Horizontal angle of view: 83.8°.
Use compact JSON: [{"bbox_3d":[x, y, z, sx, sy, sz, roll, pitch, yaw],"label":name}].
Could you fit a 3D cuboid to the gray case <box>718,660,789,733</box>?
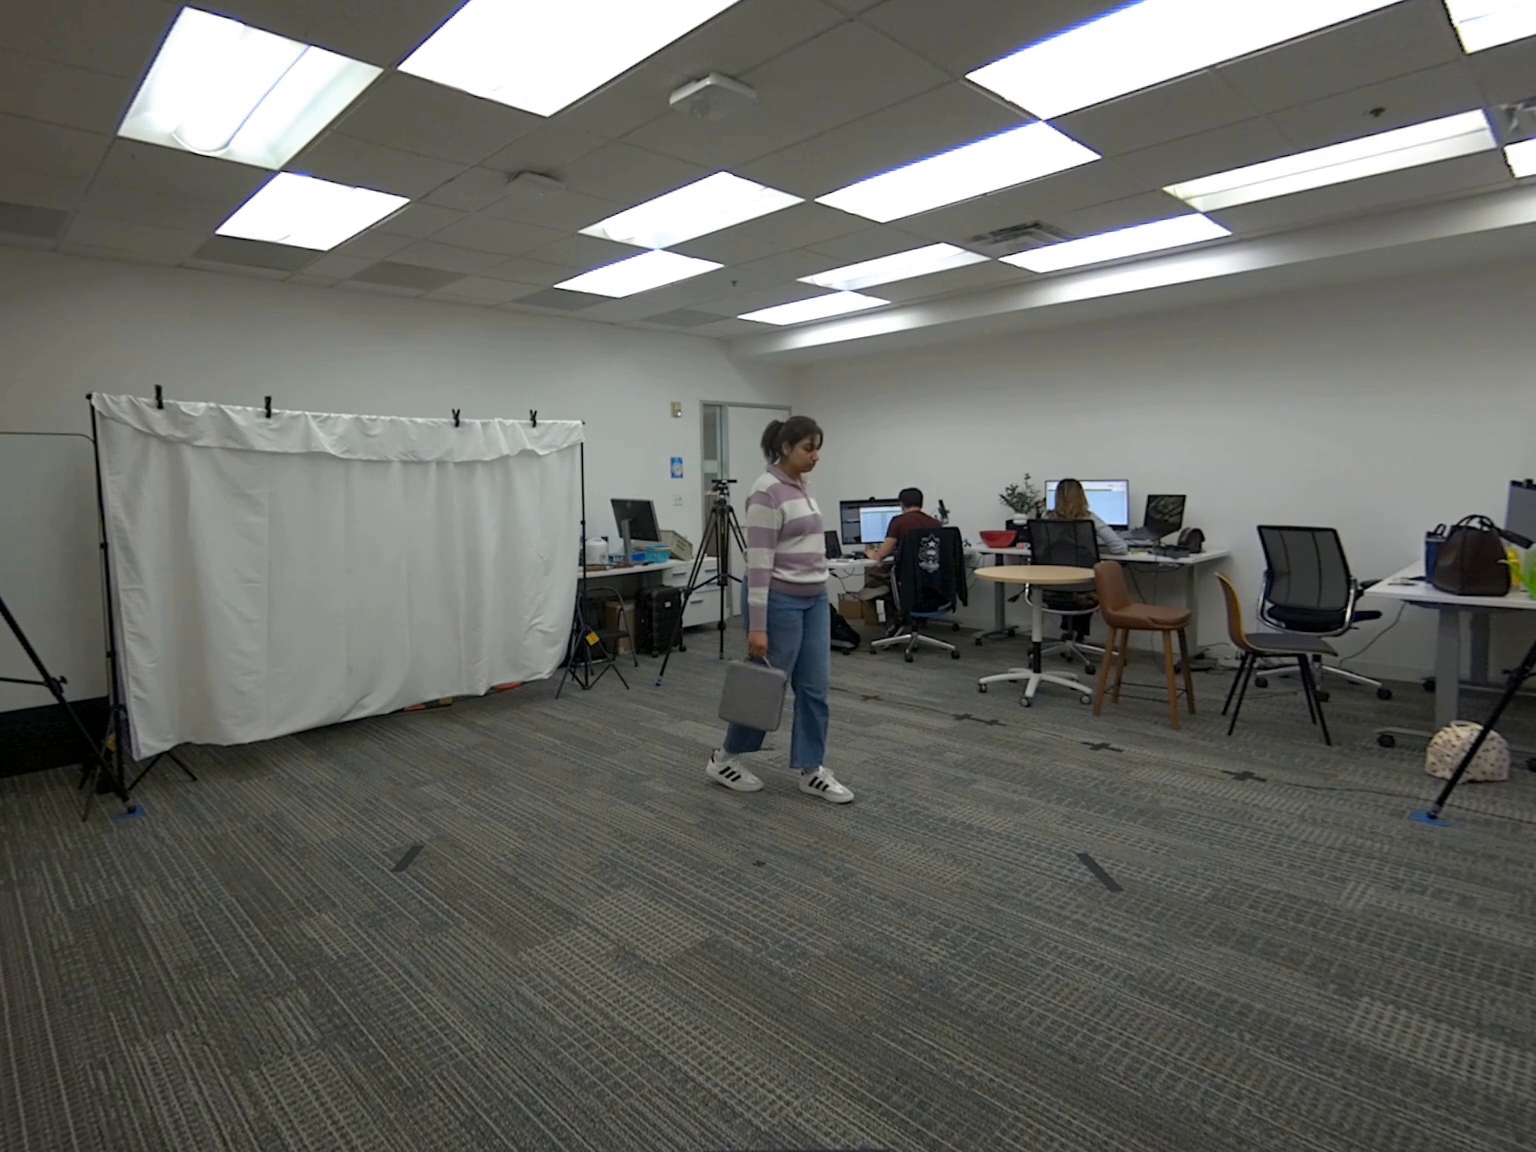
[{"bbox_3d":[-0.053,0.488,3.526,0.262,0.260,0.102,10,2,18],"label":"gray case"}]
